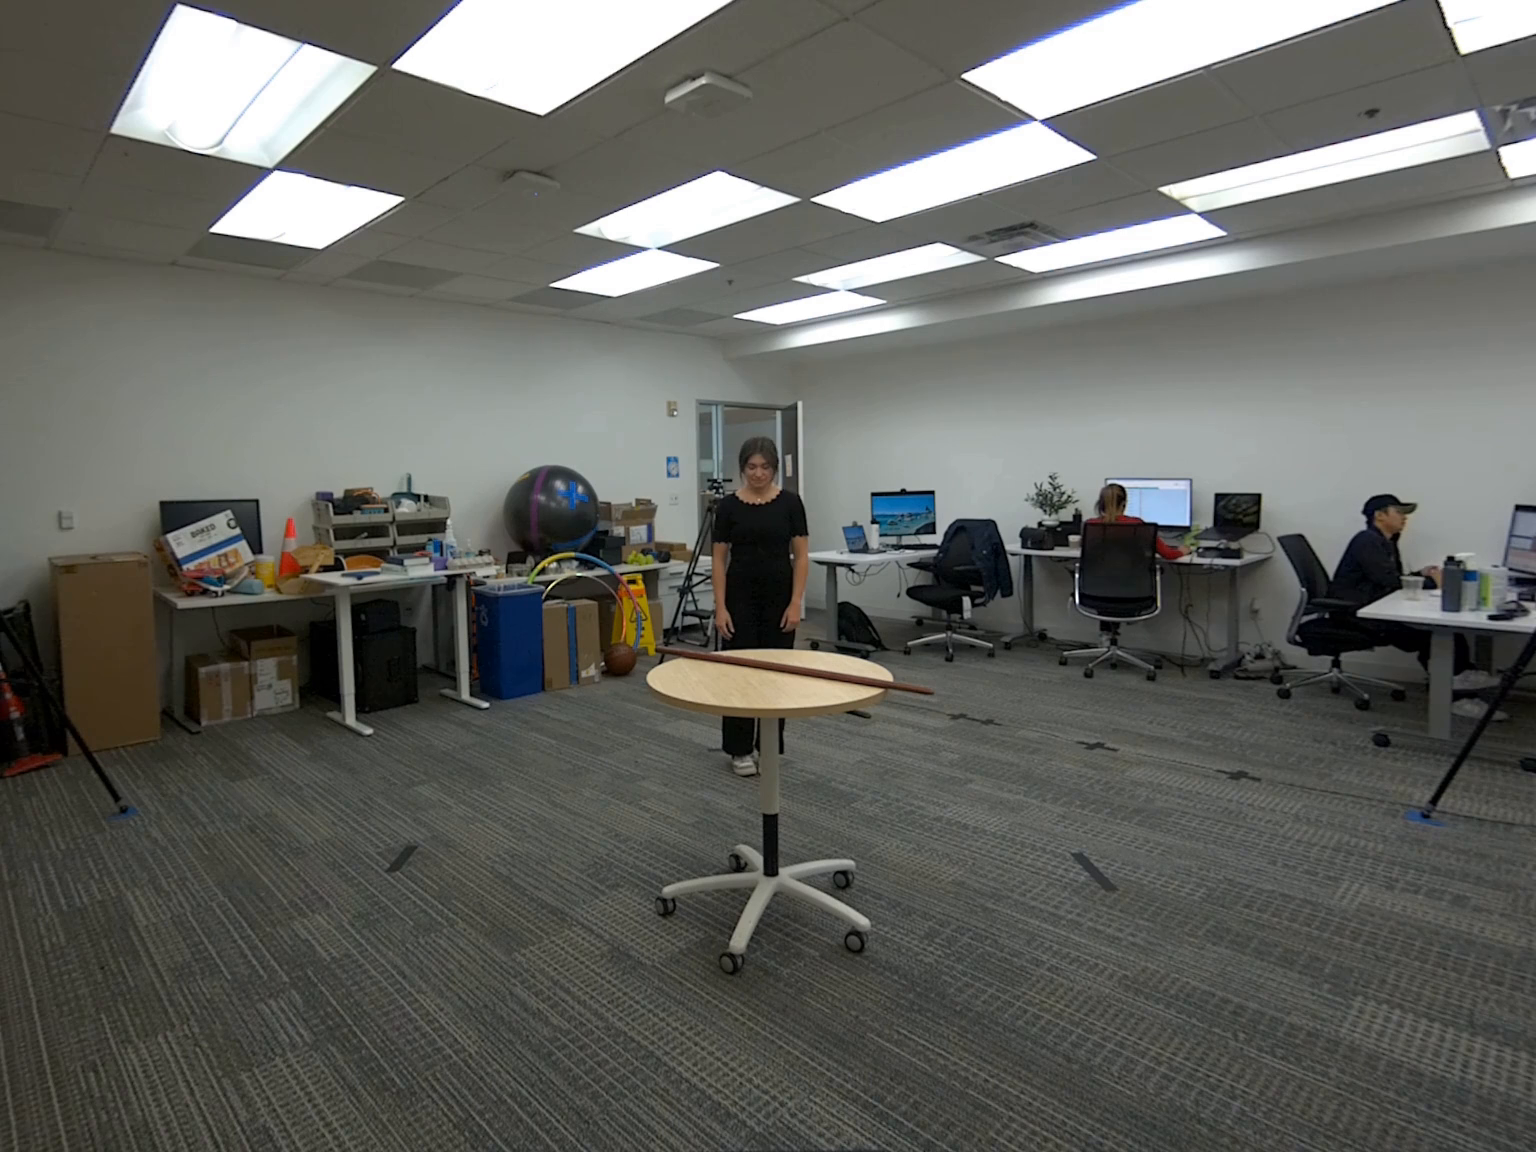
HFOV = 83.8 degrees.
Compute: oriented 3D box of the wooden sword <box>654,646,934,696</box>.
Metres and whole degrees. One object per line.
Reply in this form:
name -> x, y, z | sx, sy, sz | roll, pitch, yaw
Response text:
wooden sword -> 0.039, 0.292, 2.733 | 1.056, 0.024, 0.050 | 6, 19, 37
